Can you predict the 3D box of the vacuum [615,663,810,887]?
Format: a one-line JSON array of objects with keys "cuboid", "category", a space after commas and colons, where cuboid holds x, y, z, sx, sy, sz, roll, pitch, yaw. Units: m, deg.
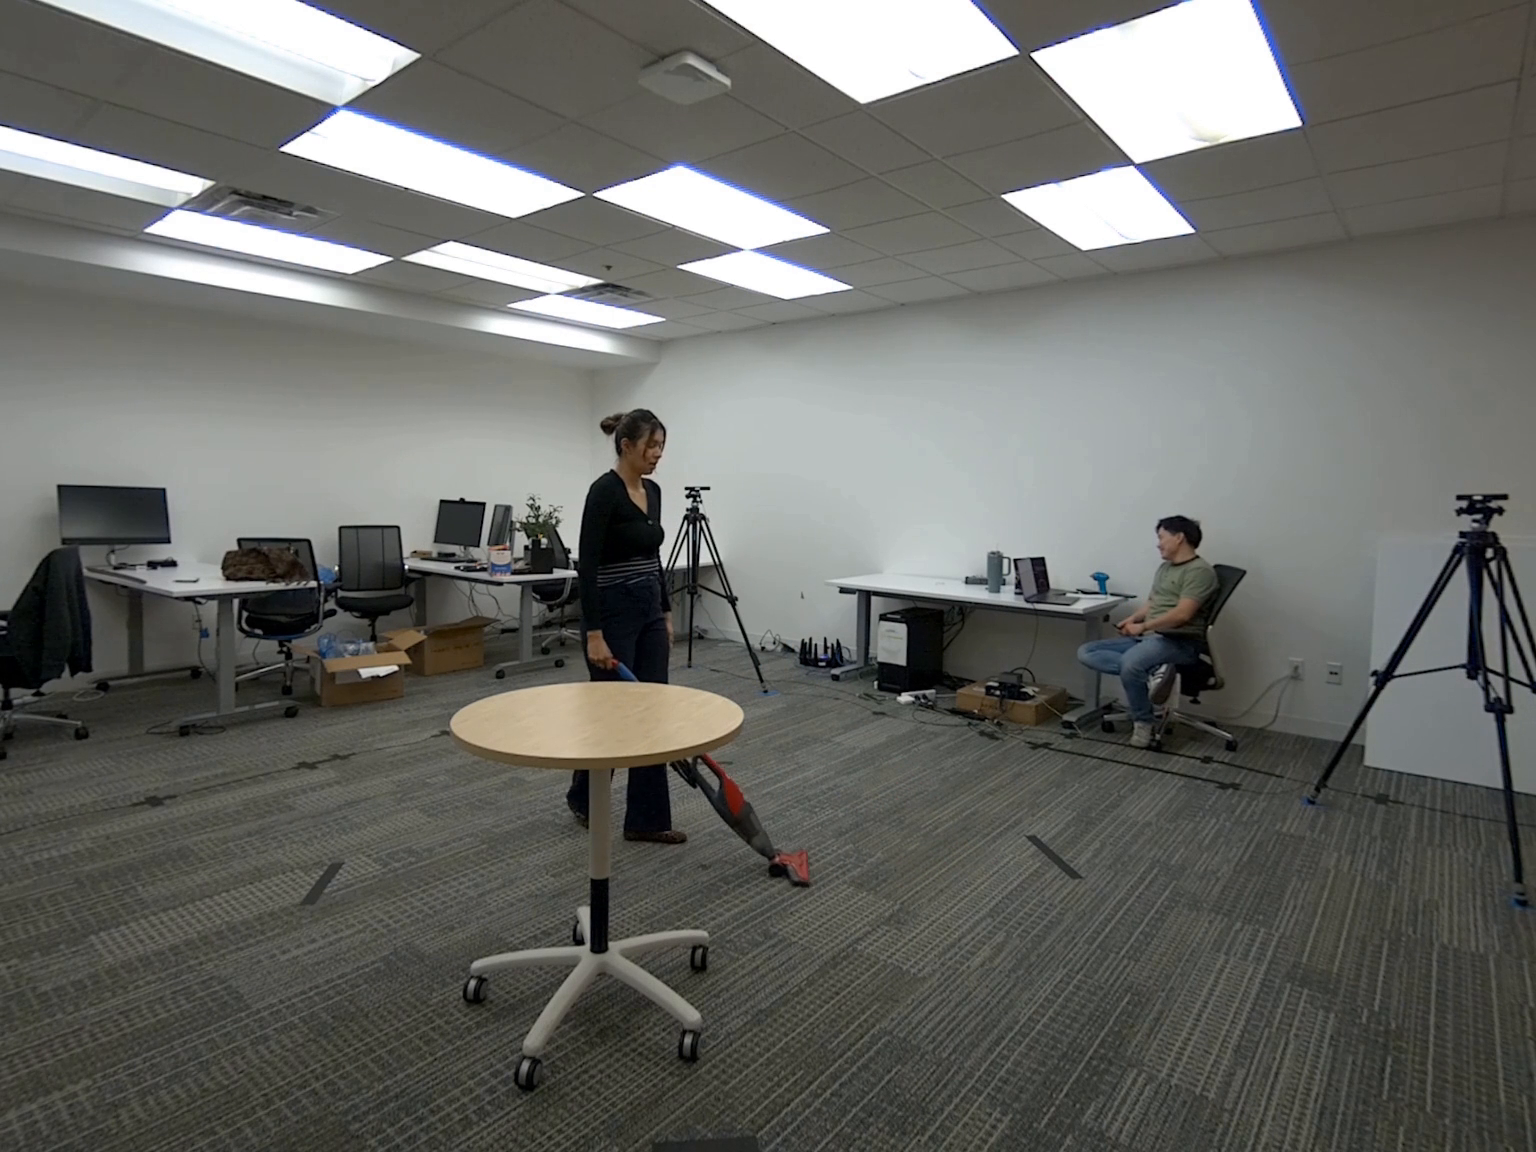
[{"cuboid": [-0.278, 0.672, 3.115, 0.144, 1.052, 0.252, -42, -1, 7], "category": "vacuum"}]
